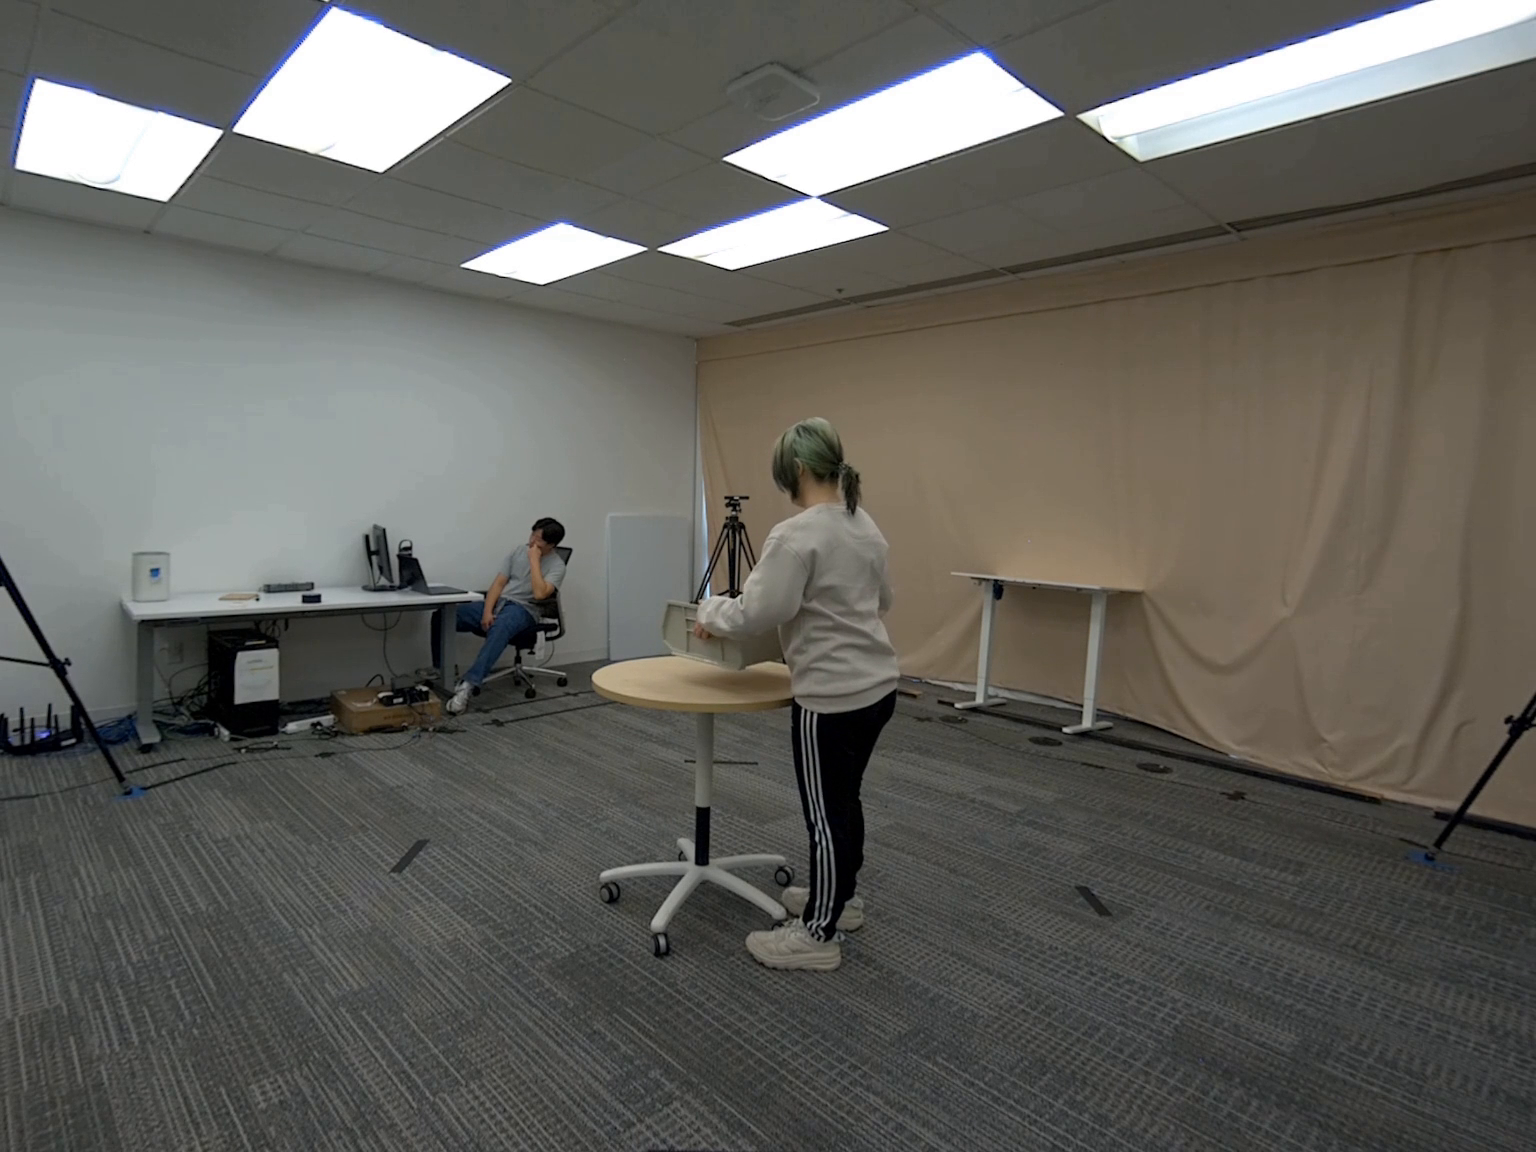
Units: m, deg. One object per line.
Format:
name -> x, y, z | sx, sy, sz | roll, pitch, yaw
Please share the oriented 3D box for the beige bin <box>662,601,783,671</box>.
beige bin -> -0.082, 0.164, 2.786 | 0.413, 0.188, 0.387 | -6, 11, -45
